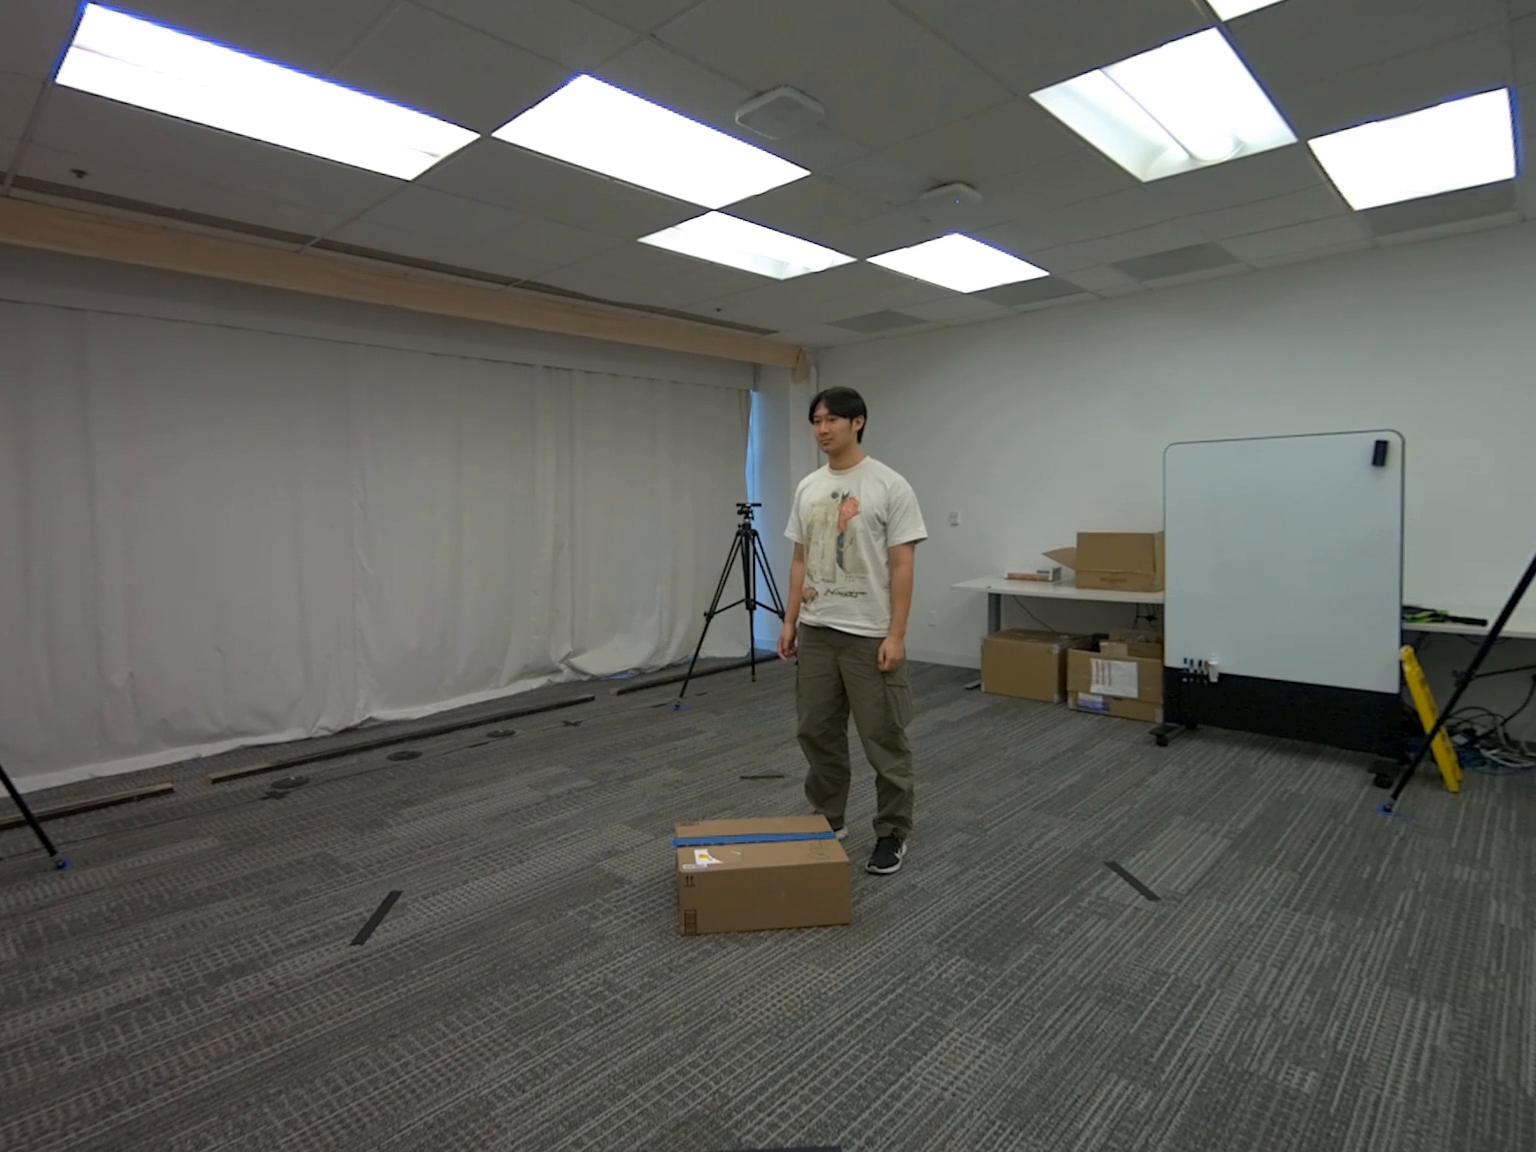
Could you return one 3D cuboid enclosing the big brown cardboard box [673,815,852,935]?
[{"bbox_3d":[-0.040,1.027,2.940,0.585,0.232,0.421,0,5,-7],"label":"big brown cardboard box"}]
